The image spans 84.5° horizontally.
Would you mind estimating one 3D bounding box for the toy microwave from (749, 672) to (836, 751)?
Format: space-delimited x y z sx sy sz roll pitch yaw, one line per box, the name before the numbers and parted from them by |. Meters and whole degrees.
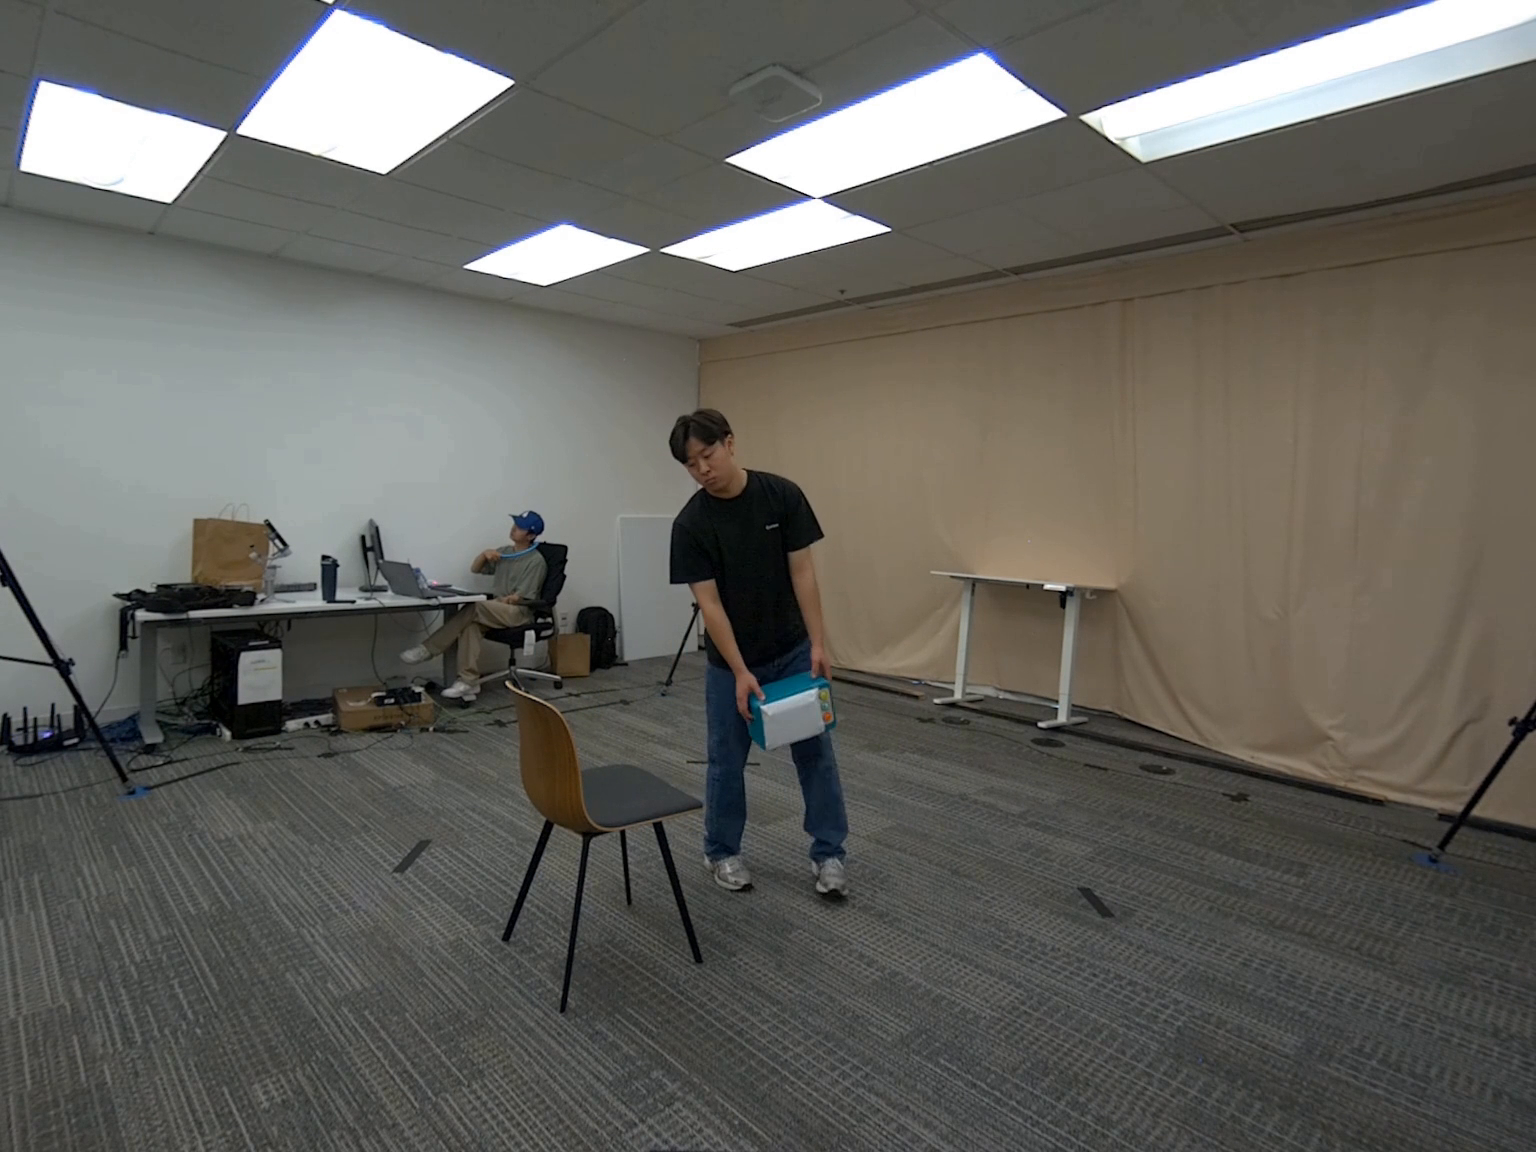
toy microwave | 0.066 0.460 2.836 0.283 0.182 0.155 -15 14 -17
